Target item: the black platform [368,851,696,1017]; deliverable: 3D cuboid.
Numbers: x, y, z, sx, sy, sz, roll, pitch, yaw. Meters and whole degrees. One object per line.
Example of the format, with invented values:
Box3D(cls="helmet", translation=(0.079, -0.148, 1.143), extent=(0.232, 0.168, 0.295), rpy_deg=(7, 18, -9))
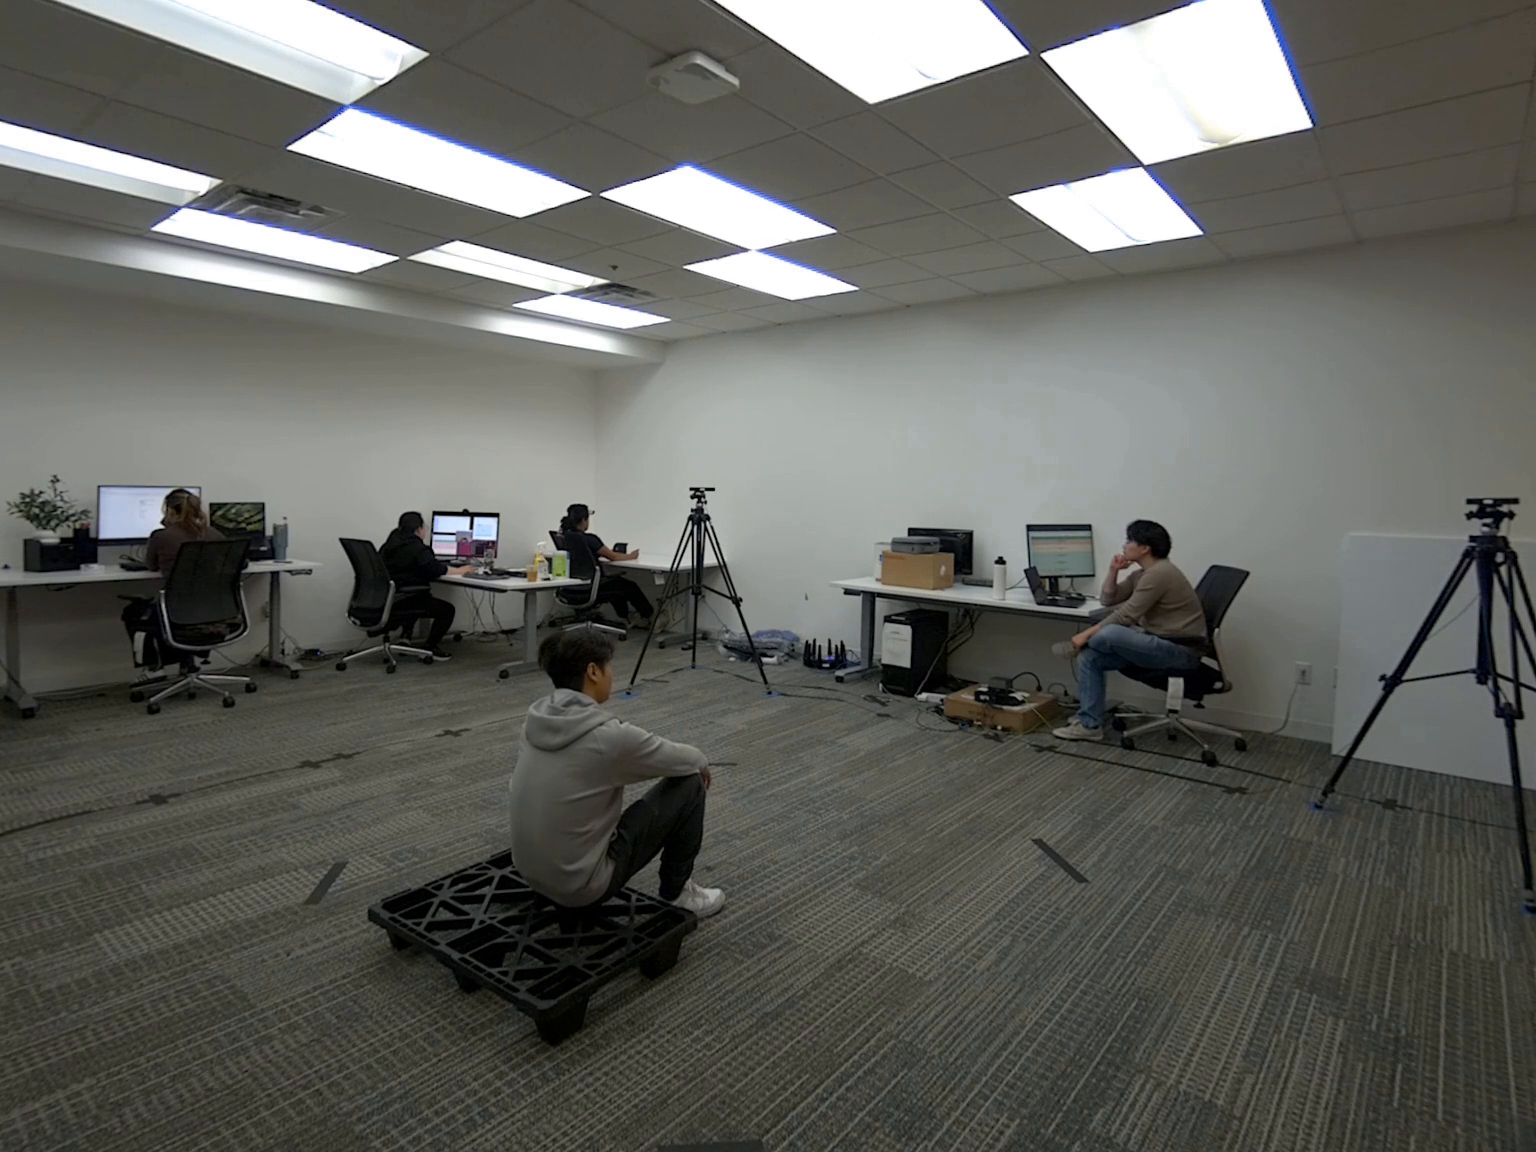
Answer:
Box3D(cls="black platform", translation=(-0.702, 1.049, 2.525), extent=(0.832, 0.143, 0.588), rpy_deg=(5, 7, 36))
